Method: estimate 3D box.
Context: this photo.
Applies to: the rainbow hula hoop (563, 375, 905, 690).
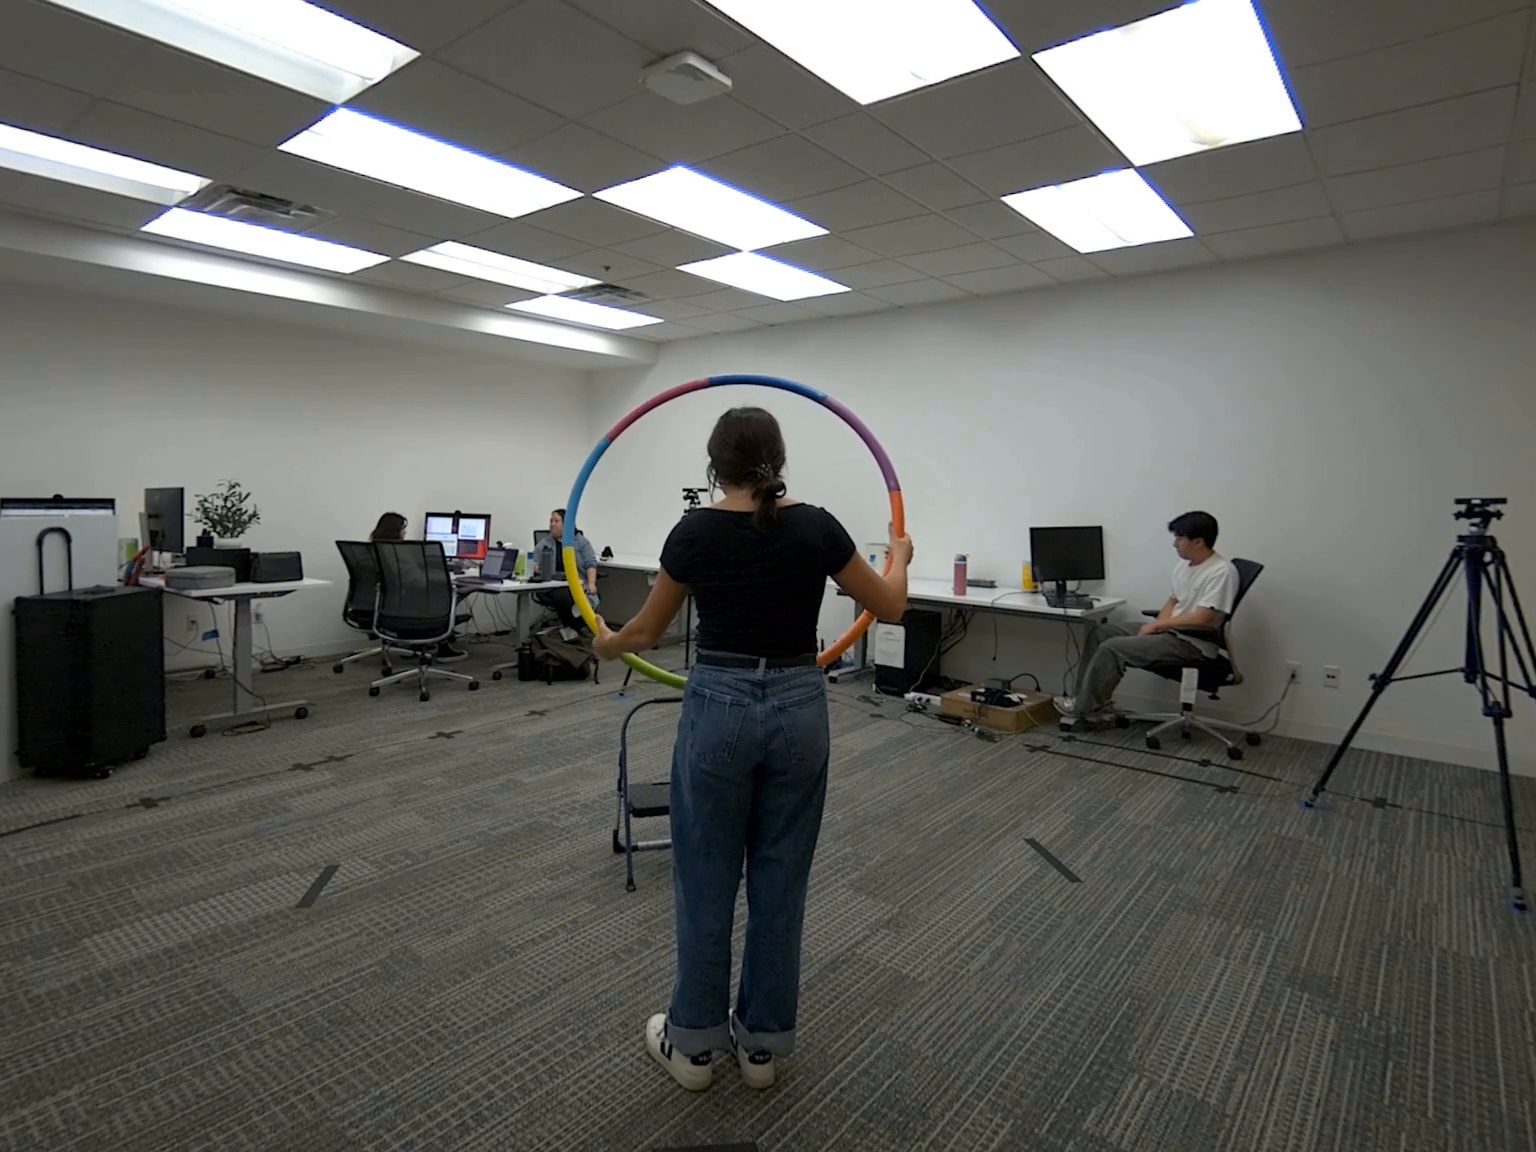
[{"bbox_3d":[-0.125,-0.164,2.429,0.992,0.995,0.034,1,-20,12],"label":"rainbow hula hoop"}]
